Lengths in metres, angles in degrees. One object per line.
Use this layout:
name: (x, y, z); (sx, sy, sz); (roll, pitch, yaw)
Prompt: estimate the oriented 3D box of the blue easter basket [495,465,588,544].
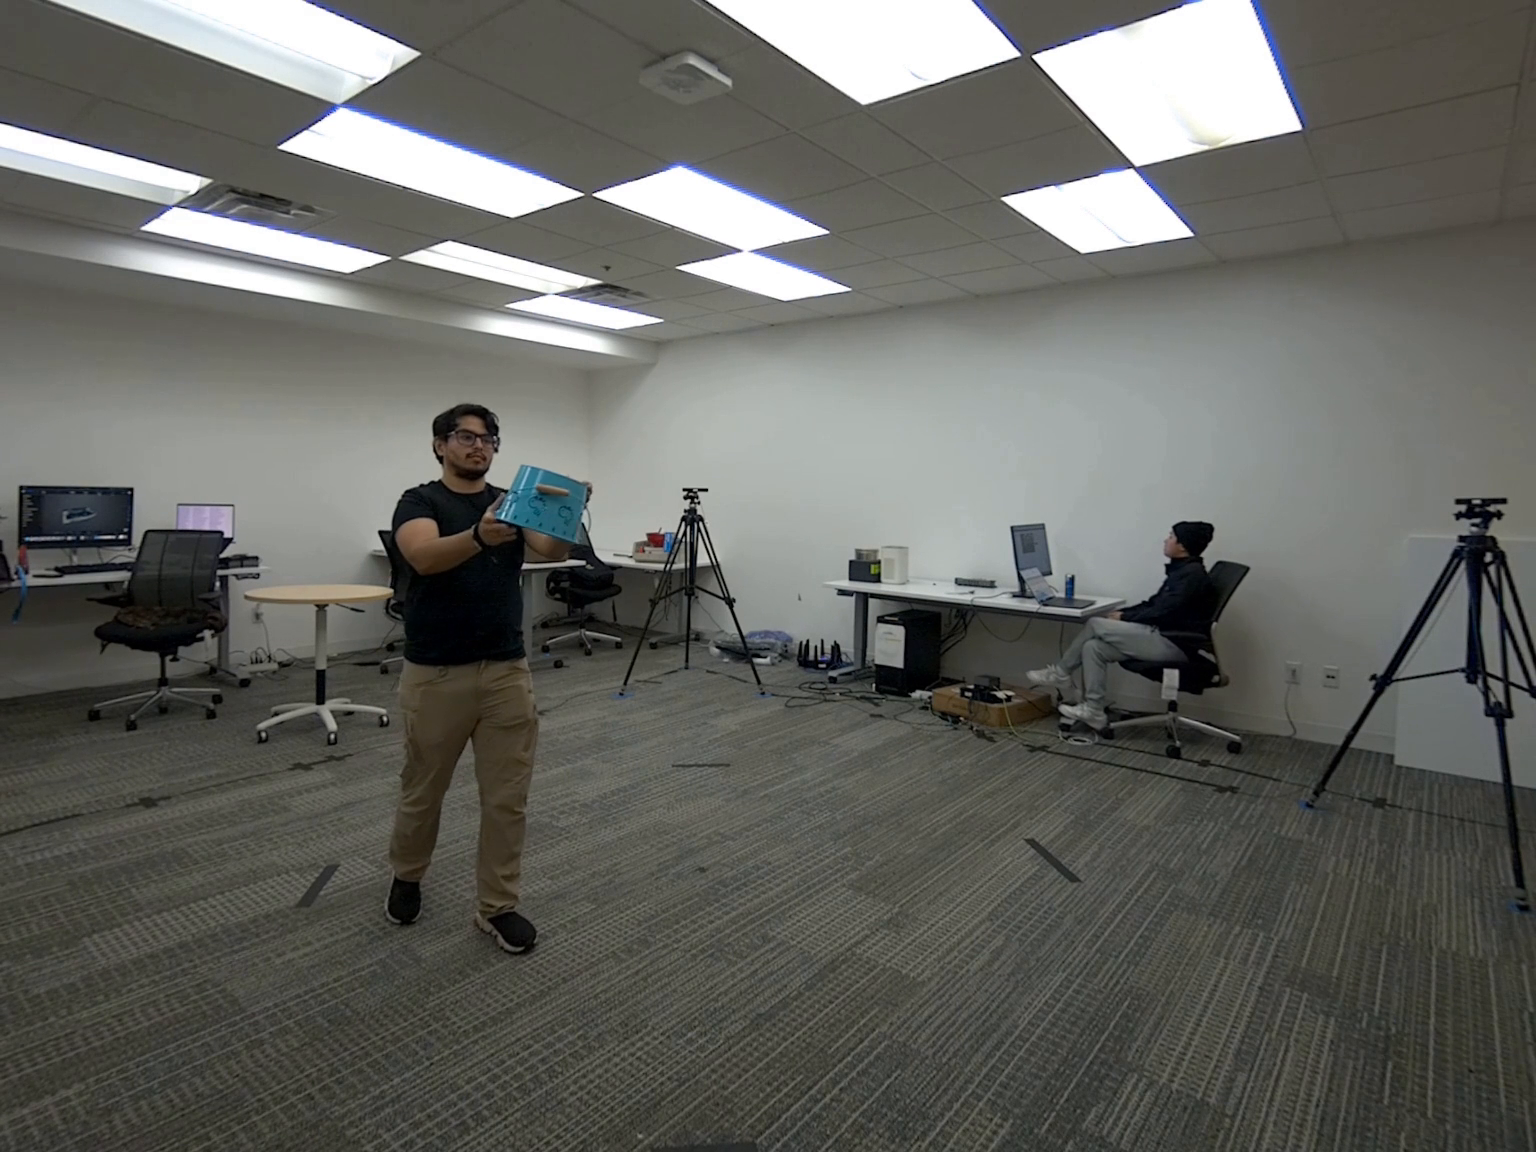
blue easter basket: (-0.593, -0.187, 2.199); (0.244, 0.156, 0.242); (16, -5, 0)
